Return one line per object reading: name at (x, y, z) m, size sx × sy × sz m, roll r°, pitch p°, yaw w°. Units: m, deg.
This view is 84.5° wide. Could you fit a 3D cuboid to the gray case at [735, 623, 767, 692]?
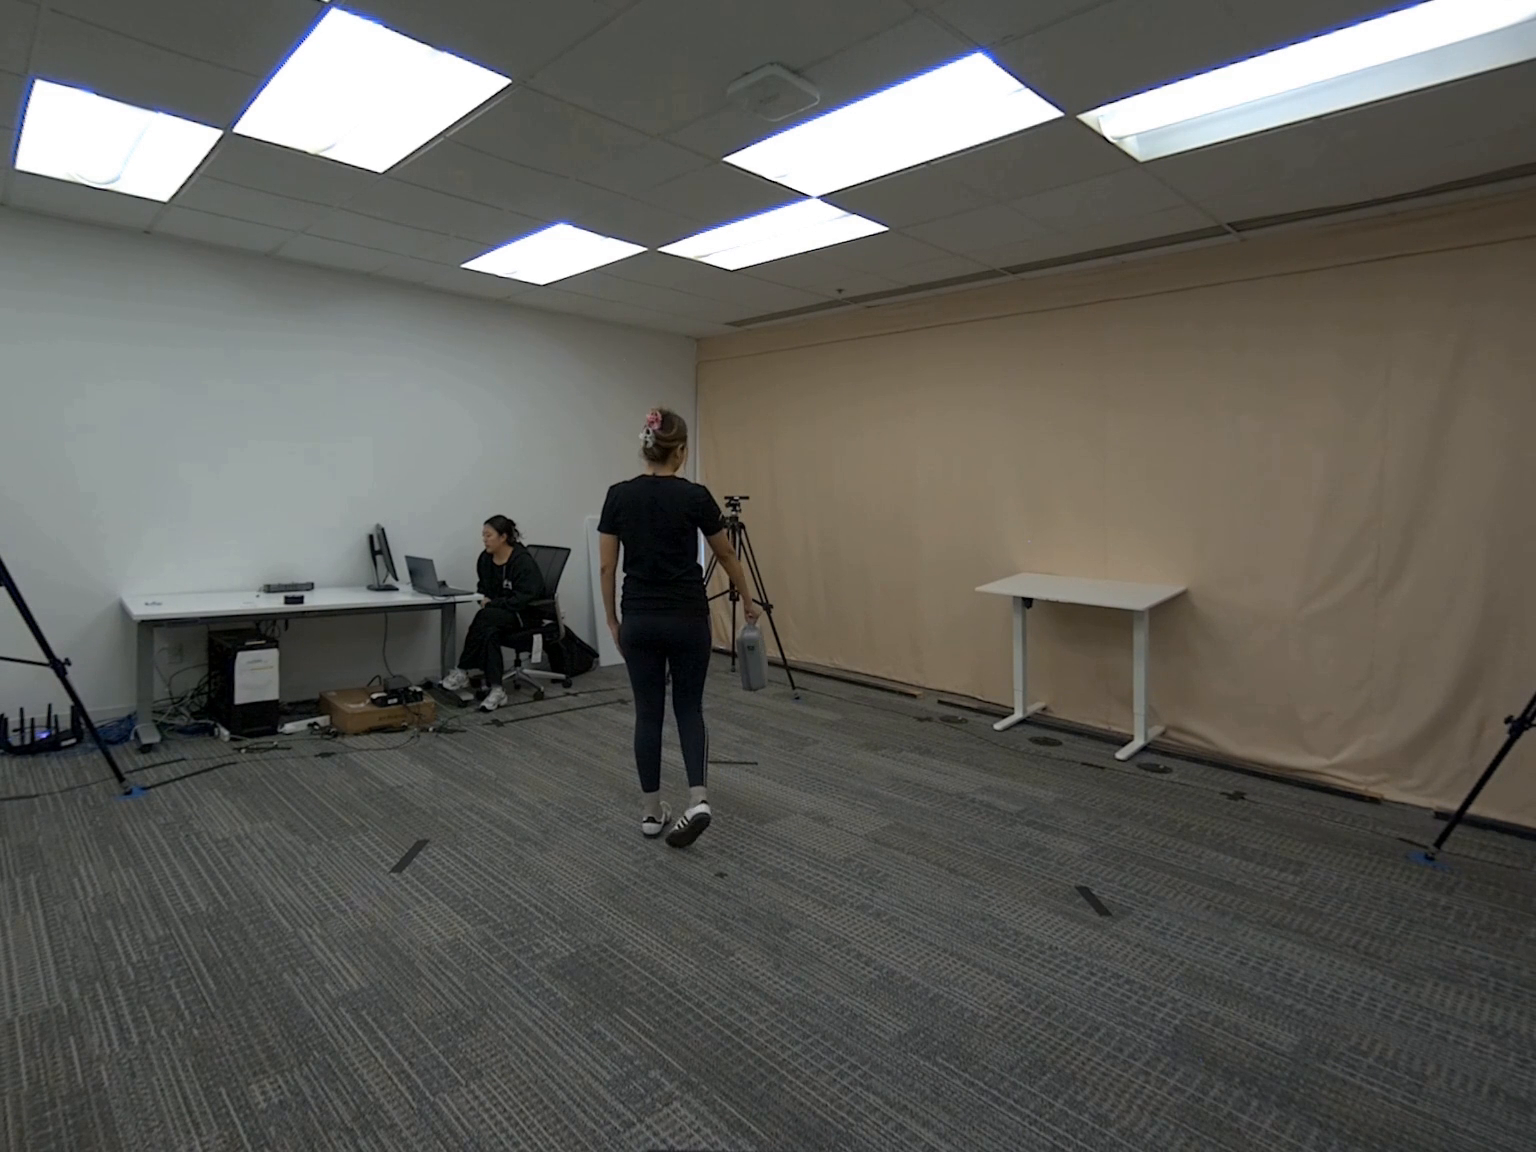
gray case at (-0.084, 0.347, 3.713) m, size 0.105 × 0.259 × 0.257 m, roll -4°, pitch 8°, yaw 8°
